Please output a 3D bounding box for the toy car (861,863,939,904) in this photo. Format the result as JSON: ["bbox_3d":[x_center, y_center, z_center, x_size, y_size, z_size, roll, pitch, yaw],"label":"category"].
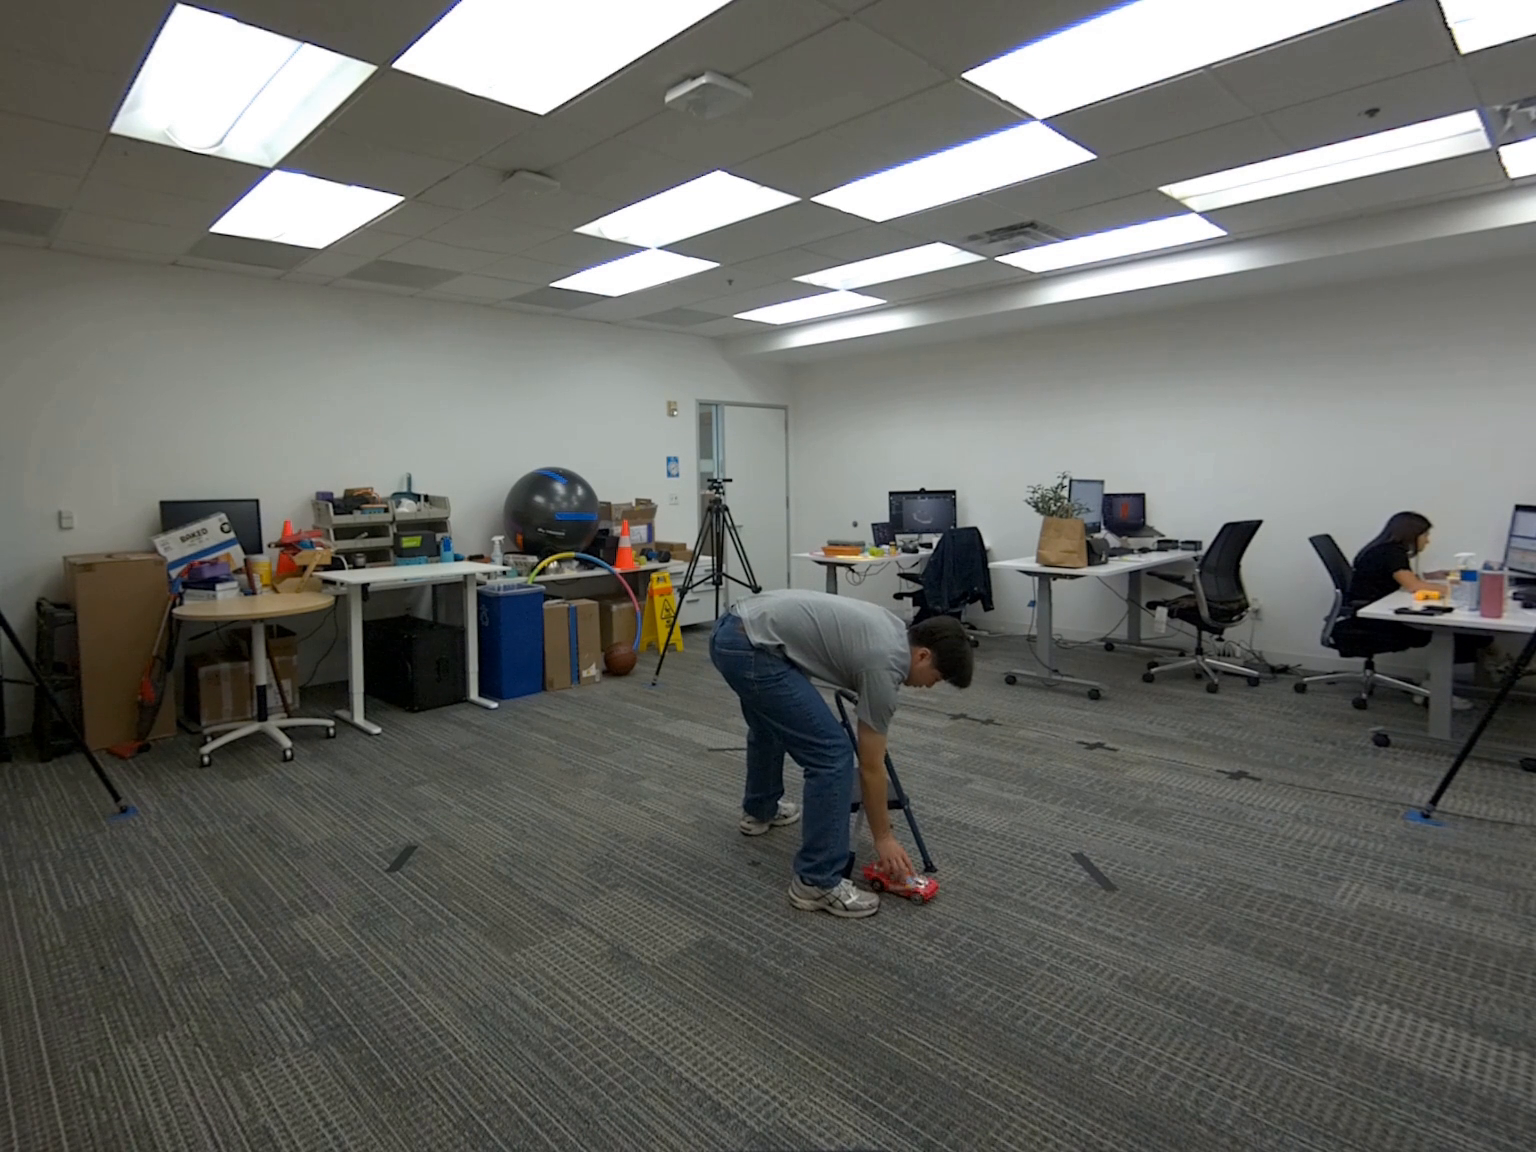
[{"bbox_3d":[0.450,1.042,2.885,0.262,0.082,0.127,19,16,28],"label":"toy car"}]
